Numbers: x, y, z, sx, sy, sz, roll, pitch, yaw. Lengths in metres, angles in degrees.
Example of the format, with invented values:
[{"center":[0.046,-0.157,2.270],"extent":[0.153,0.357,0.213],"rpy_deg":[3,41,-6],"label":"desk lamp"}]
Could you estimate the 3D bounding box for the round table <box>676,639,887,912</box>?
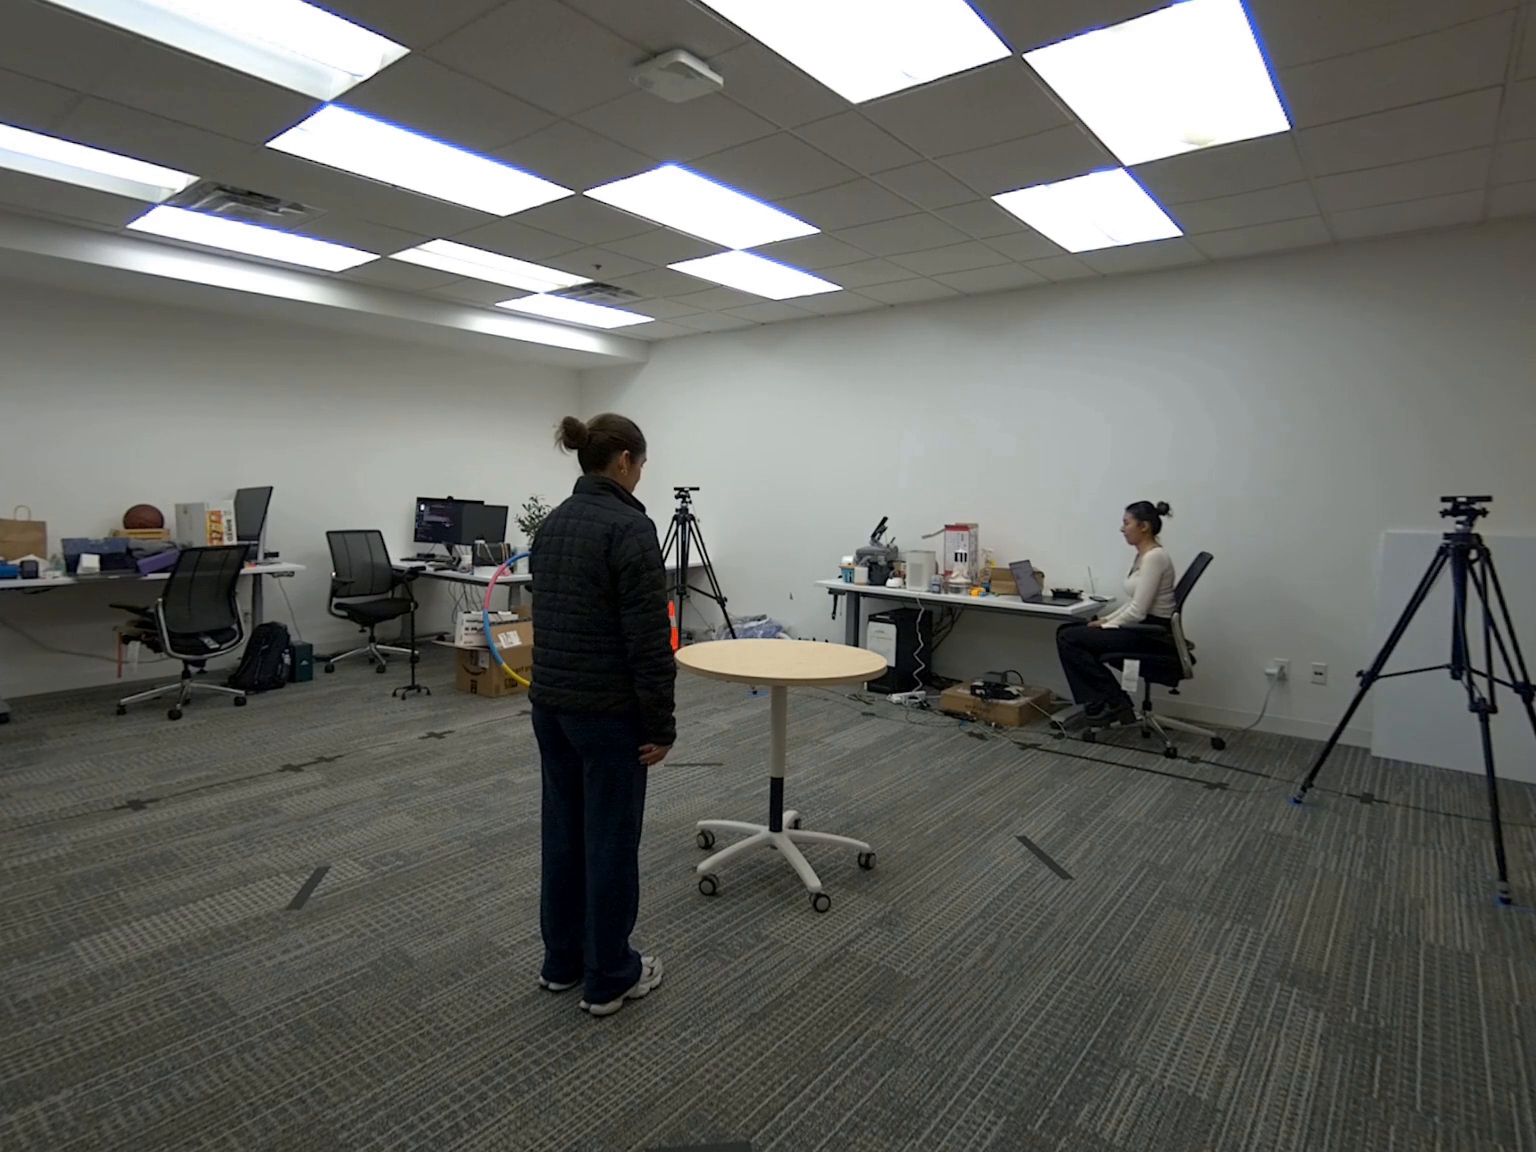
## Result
[{"center":[0.052,0.677,3.106],"extent":[0.784,0.784,0.788],"rpy_deg":[1,3,-2],"label":"round table"}]
